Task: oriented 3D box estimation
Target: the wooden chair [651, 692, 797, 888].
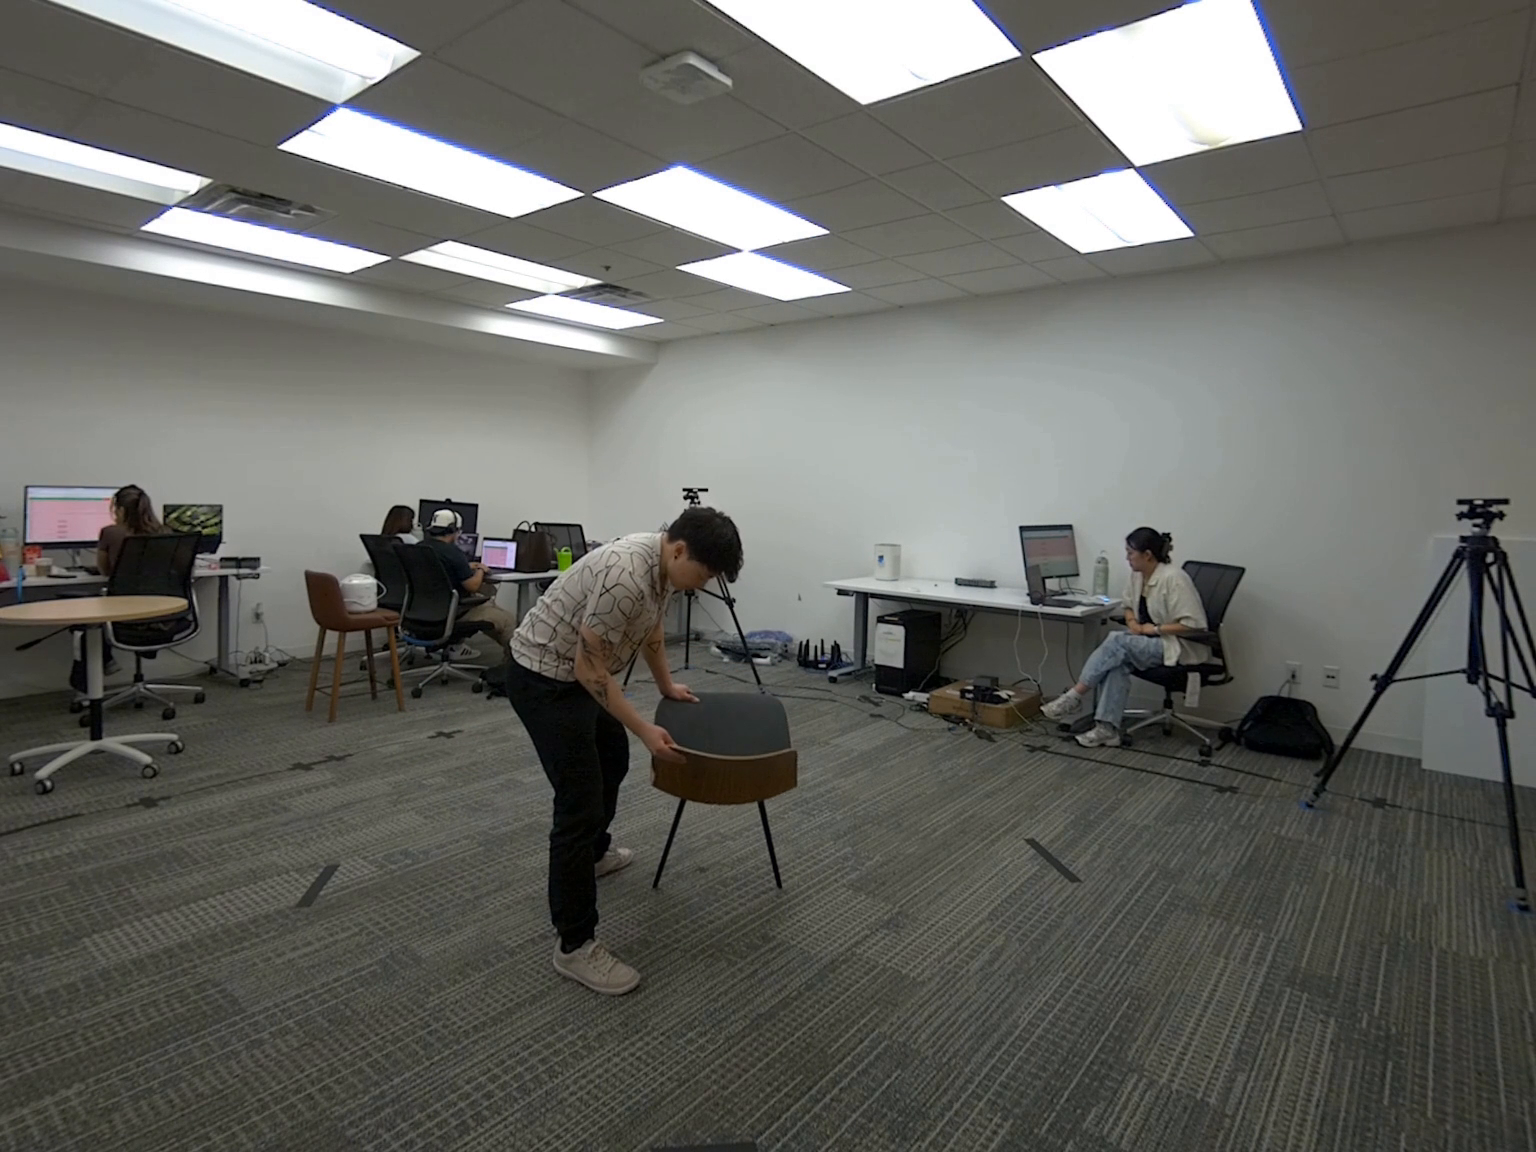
[{"bbox_3d":[-0.167,0.618,2.866,0.476,0.854,0.539,1,46,-5],"label":"wooden chair"}]
